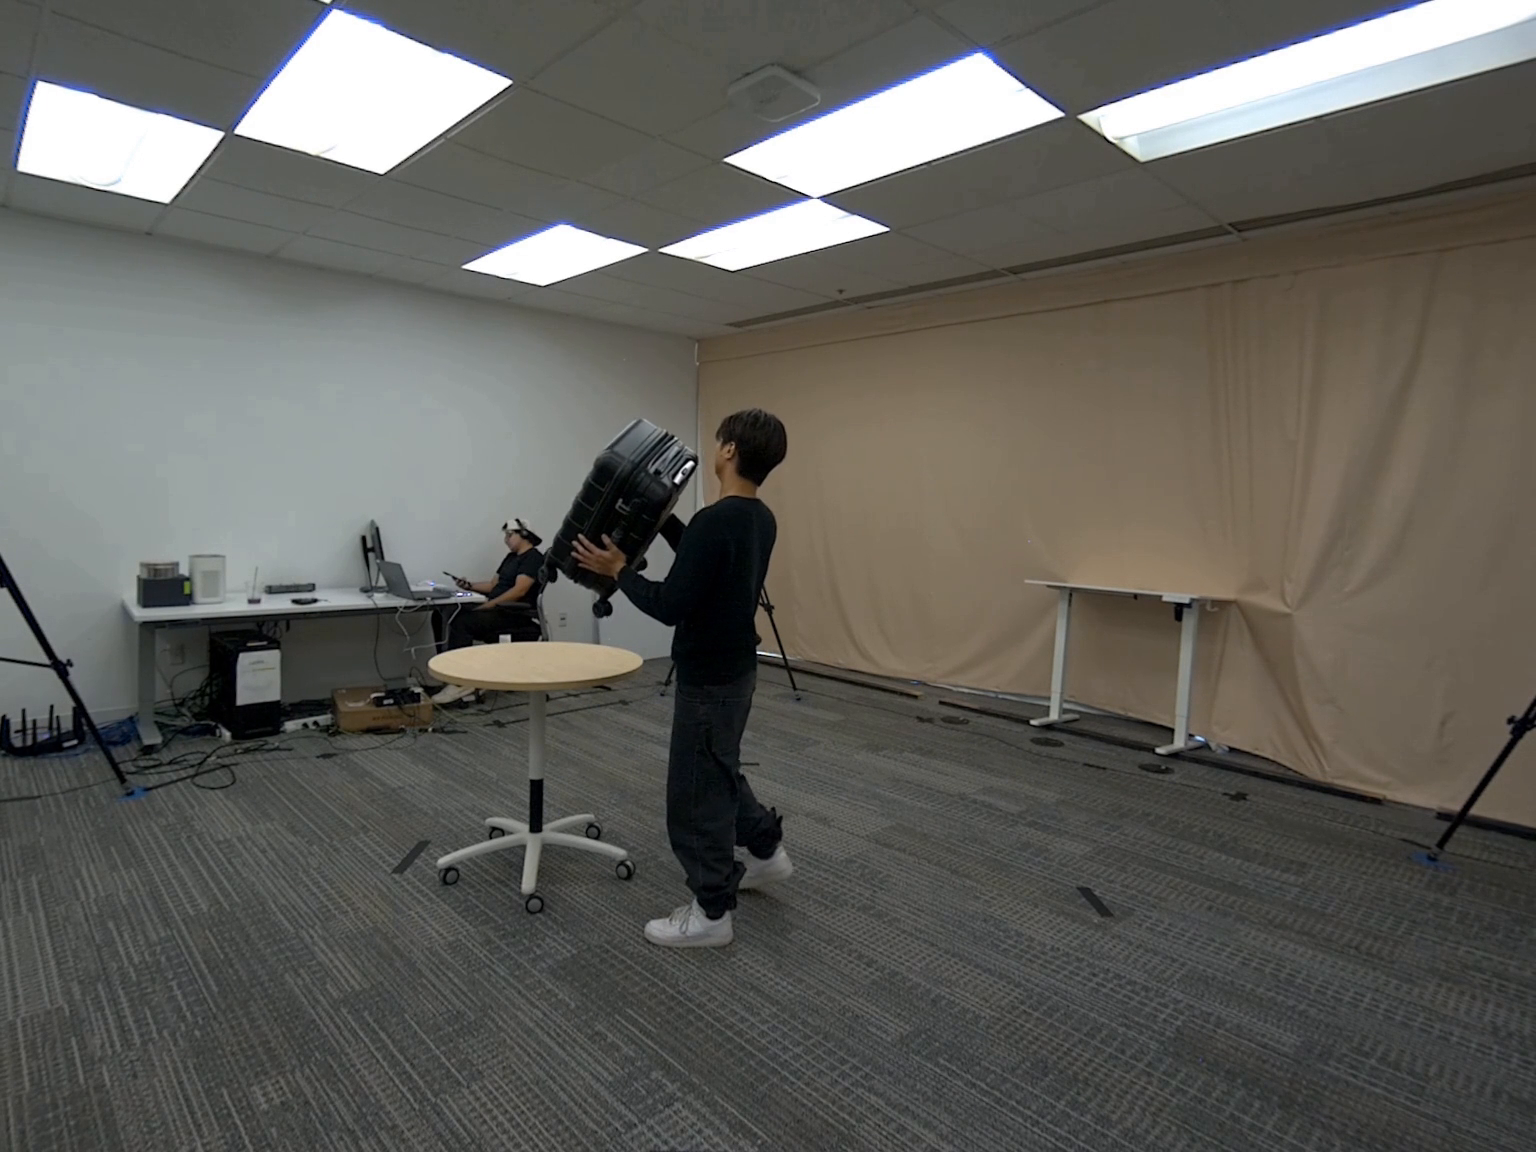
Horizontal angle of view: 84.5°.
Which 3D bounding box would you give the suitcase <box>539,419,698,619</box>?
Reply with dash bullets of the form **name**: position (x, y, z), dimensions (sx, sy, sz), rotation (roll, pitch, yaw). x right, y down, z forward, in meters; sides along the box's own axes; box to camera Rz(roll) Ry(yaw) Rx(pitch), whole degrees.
- **suitcase**: position (-0.463, -0.206, 2.678), dimensions (0.248, 0.547, 0.378), rotation (34, 35, -3)
